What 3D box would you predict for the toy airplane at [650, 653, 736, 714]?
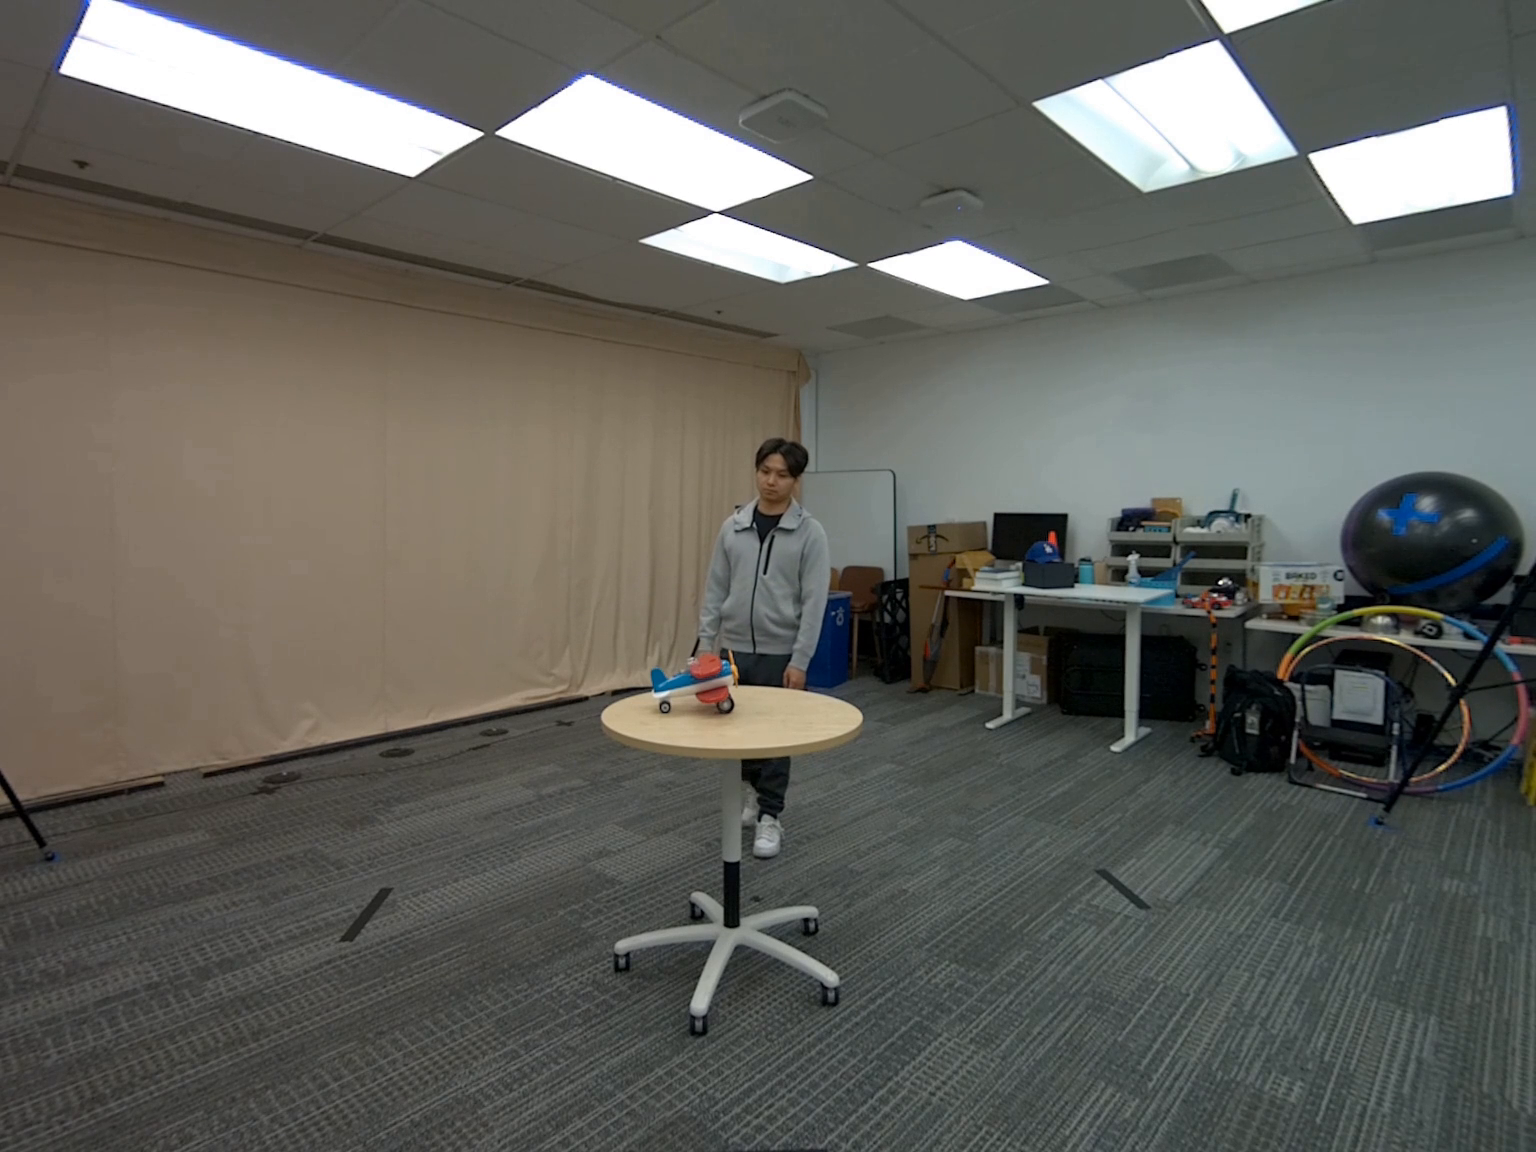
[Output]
[{"bbox_3d":[-0.220,0.328,2.490,0.252,0.156,0.258,-2,4,-32],"label":"toy airplane"}]
